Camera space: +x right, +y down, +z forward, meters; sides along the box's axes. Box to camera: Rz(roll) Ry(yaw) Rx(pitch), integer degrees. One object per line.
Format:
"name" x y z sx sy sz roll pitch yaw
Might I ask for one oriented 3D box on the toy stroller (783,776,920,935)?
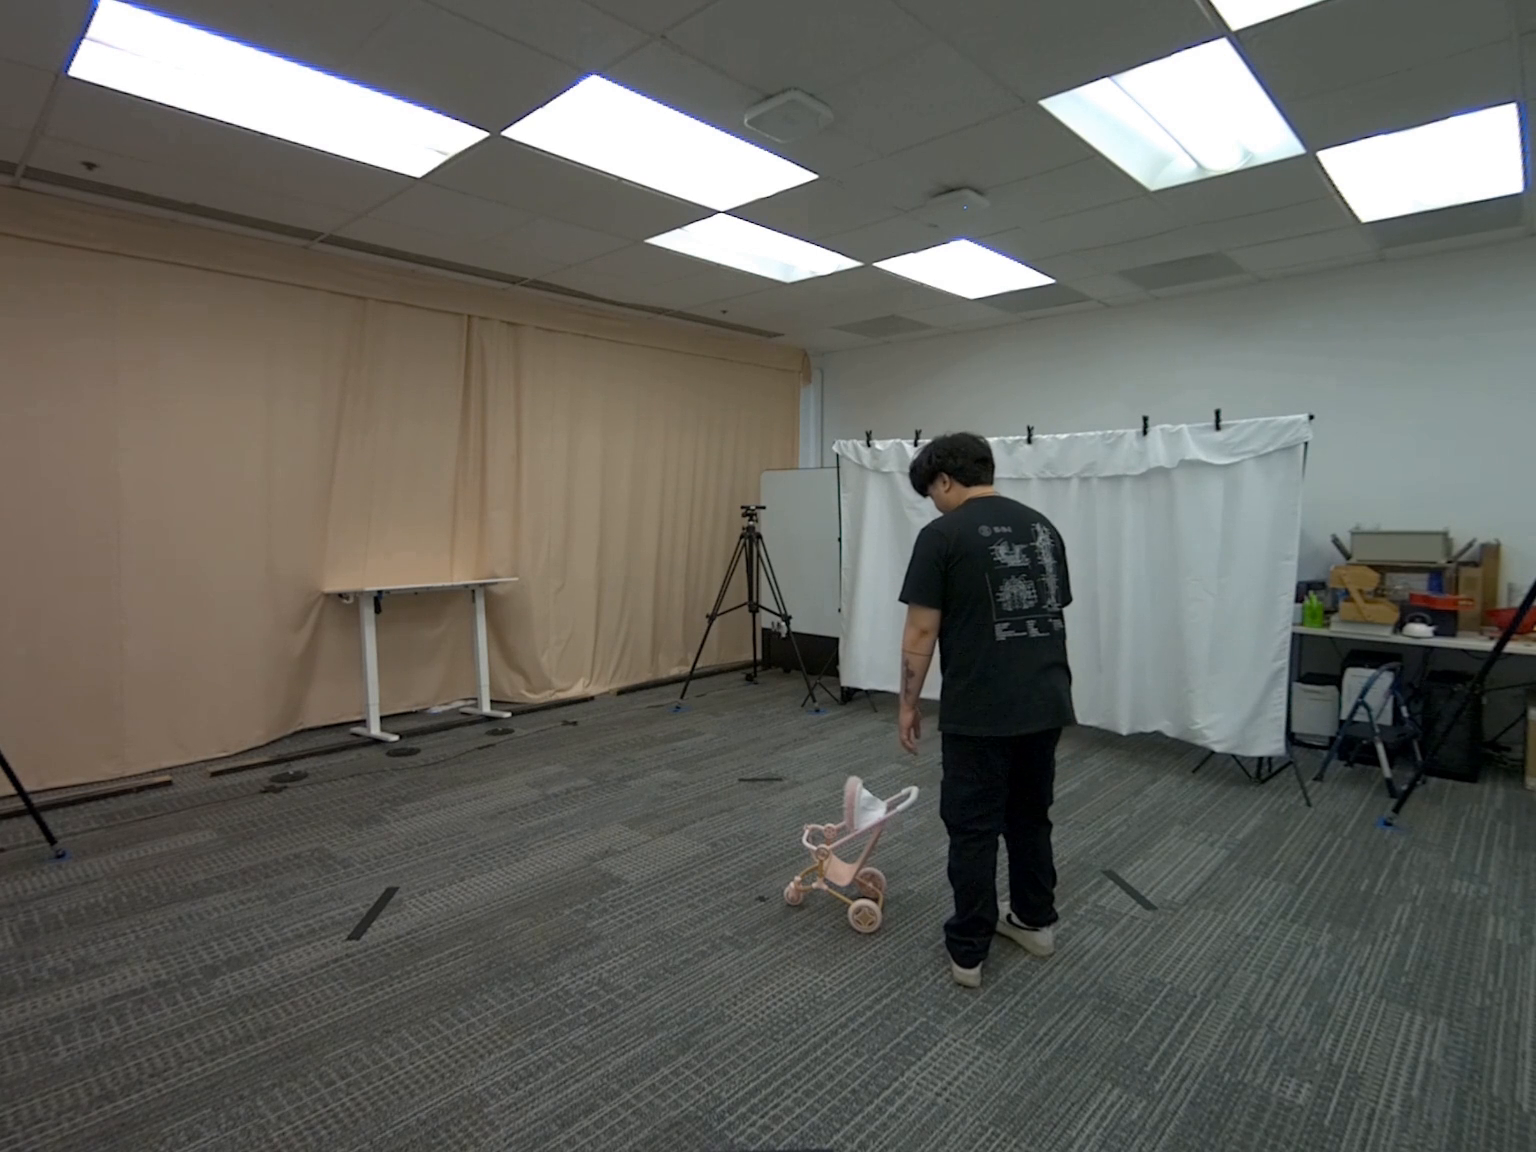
"toy stroller" 0.281 0.927 2.877 0.349 0.533 0.276 17 8 18
